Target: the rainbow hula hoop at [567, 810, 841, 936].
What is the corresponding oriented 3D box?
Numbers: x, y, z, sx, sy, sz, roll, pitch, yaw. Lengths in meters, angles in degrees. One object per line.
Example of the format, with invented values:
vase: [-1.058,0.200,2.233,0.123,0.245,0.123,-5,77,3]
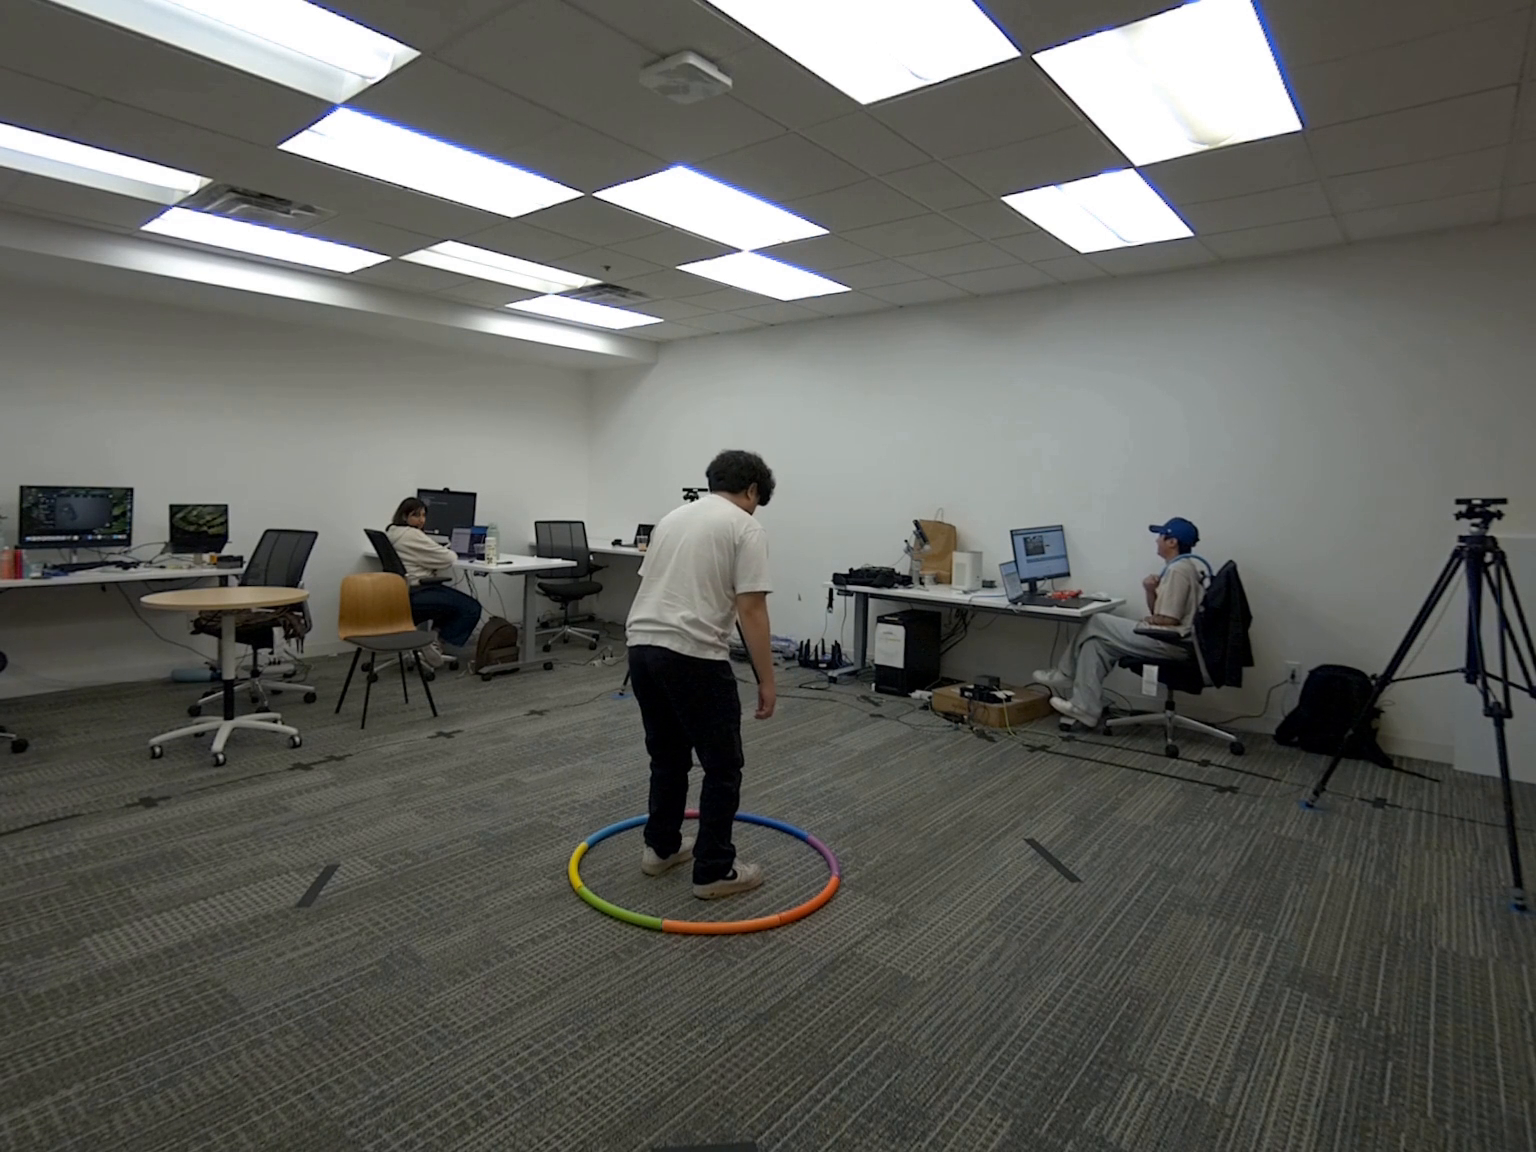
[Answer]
rainbow hula hoop: [-0.242,1.043,3.125,0.984,0.051,0.991,1,6,-2]
